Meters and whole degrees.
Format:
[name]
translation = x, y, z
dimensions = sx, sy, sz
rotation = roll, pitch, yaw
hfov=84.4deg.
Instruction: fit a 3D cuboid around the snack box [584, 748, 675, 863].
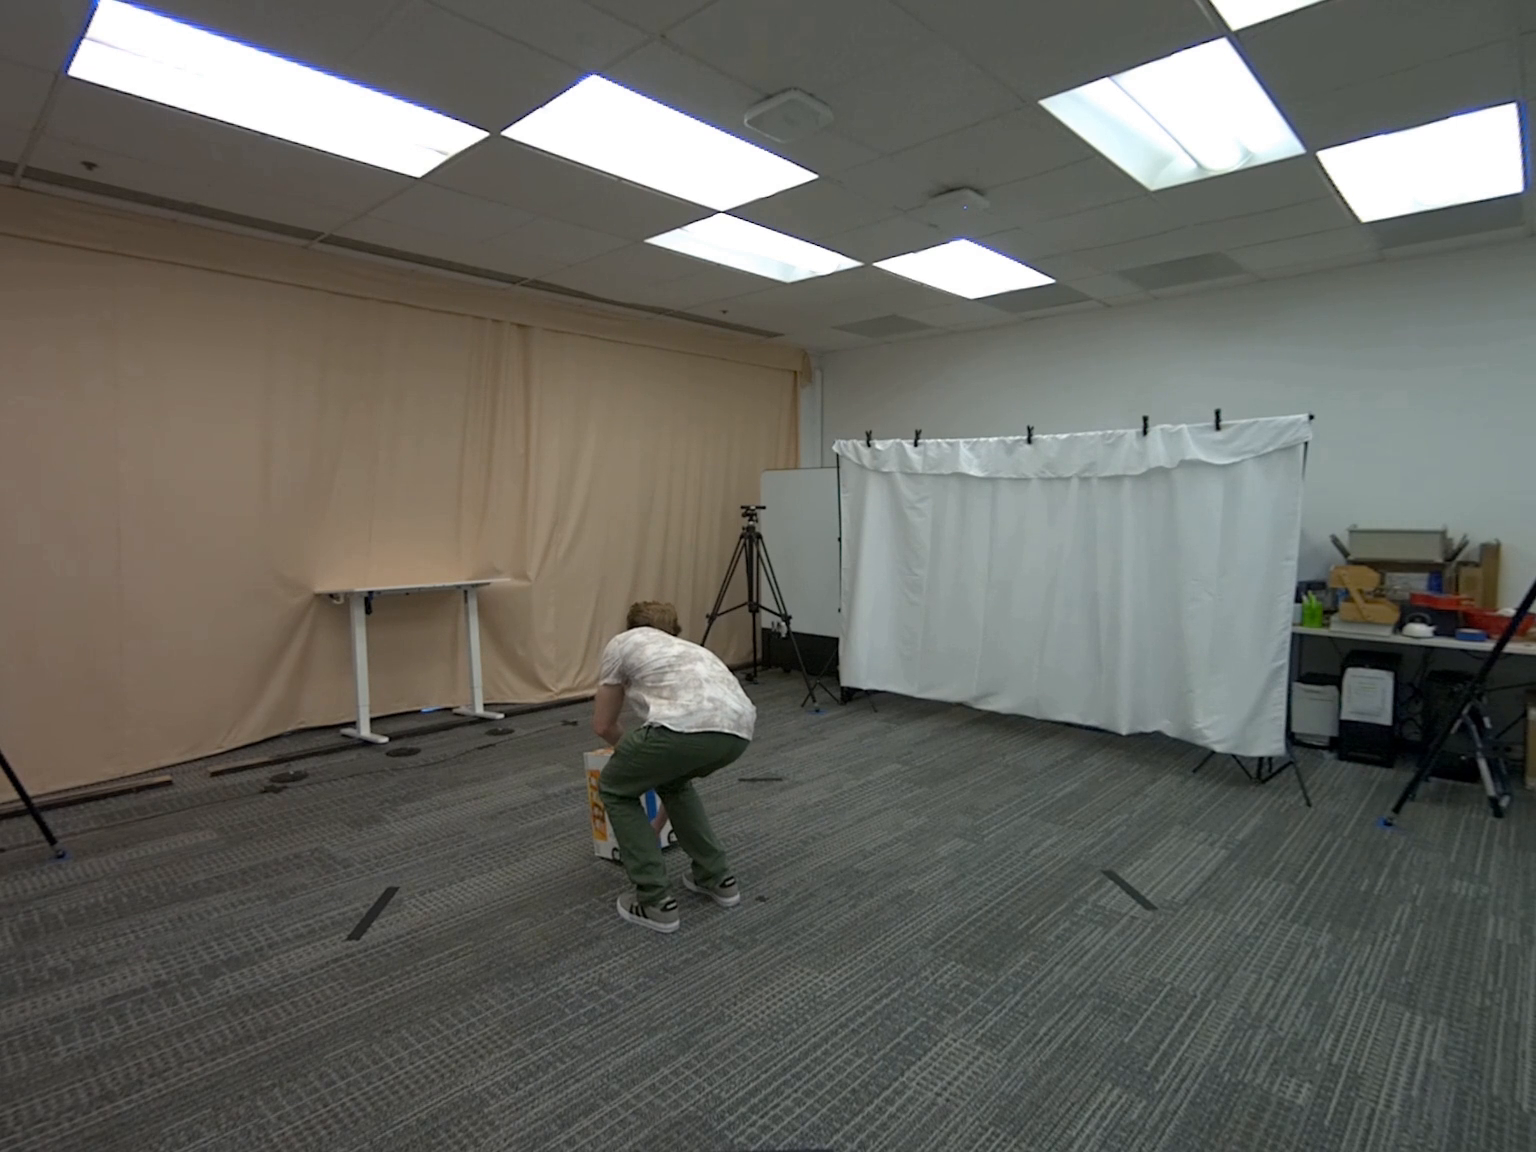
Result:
[snack box]
translation = -0.536, 0.894, 3.429
dimensions = 0.330, 0.406, 0.211
rotation = -3, -5, -44
